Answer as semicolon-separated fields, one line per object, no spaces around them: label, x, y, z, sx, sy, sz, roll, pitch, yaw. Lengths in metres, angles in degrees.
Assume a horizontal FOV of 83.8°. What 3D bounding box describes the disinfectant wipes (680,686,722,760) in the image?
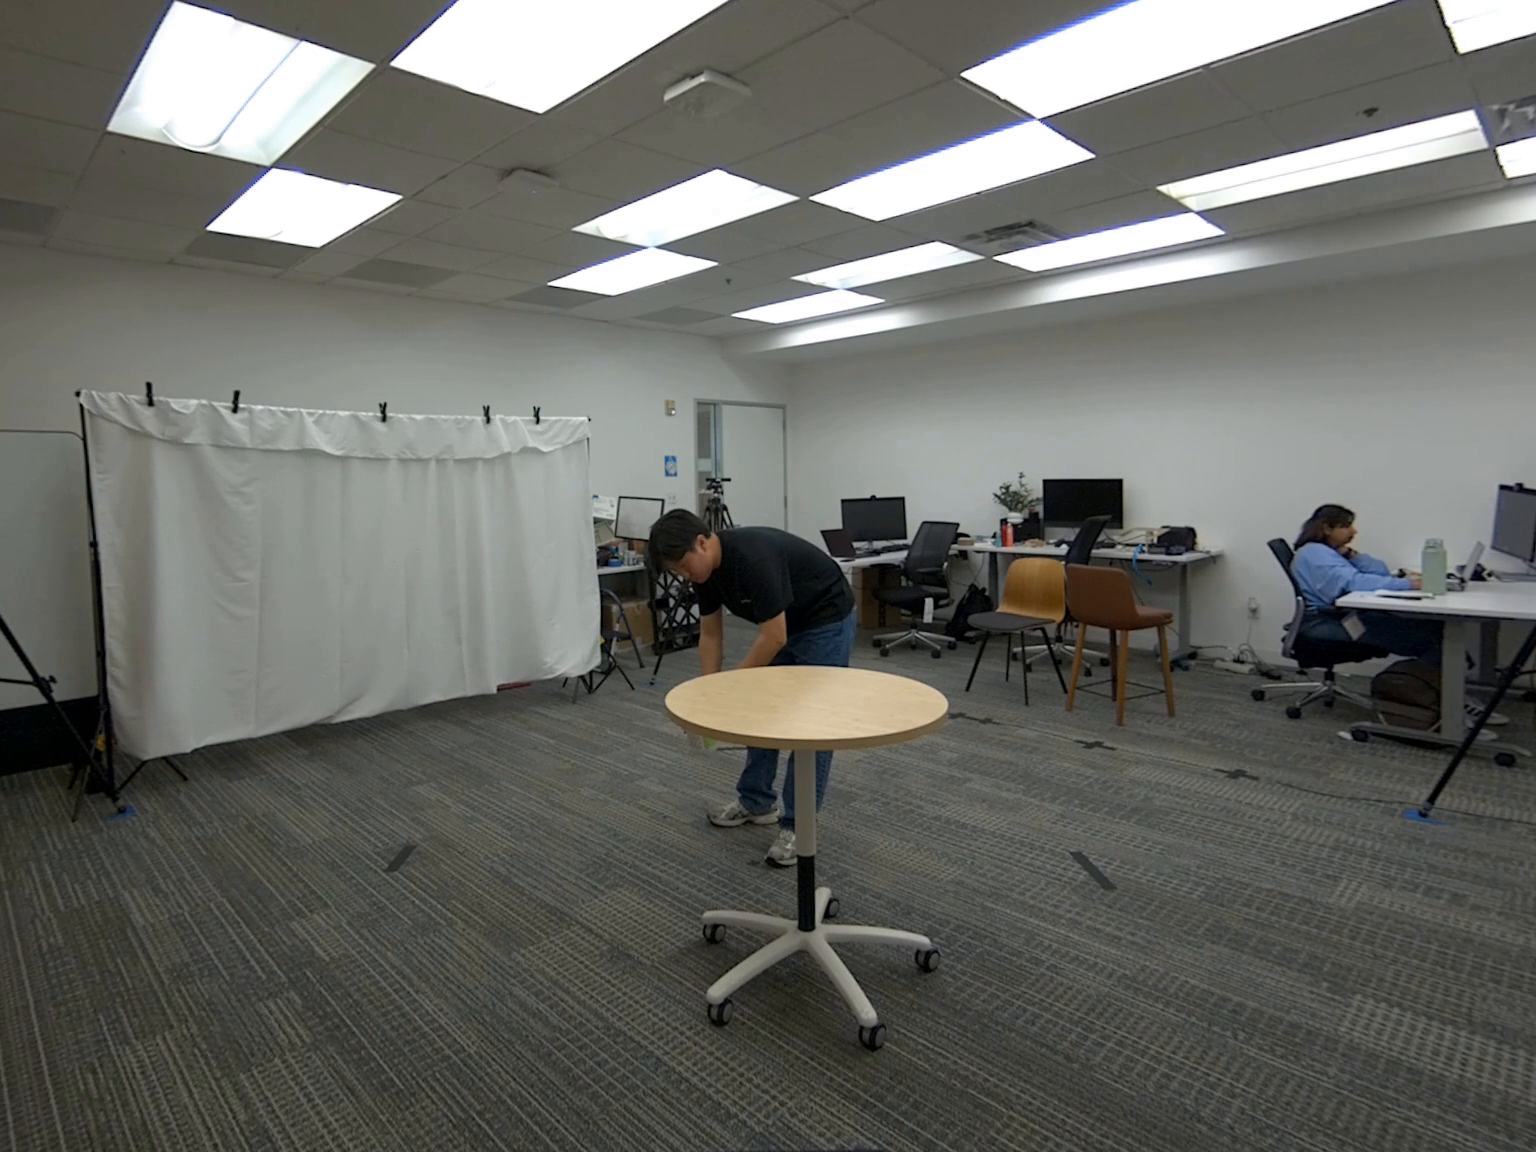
disinfectant wipes;-0.243;0.533;3.118;0.118;0.214;0.119;-7;17;1
